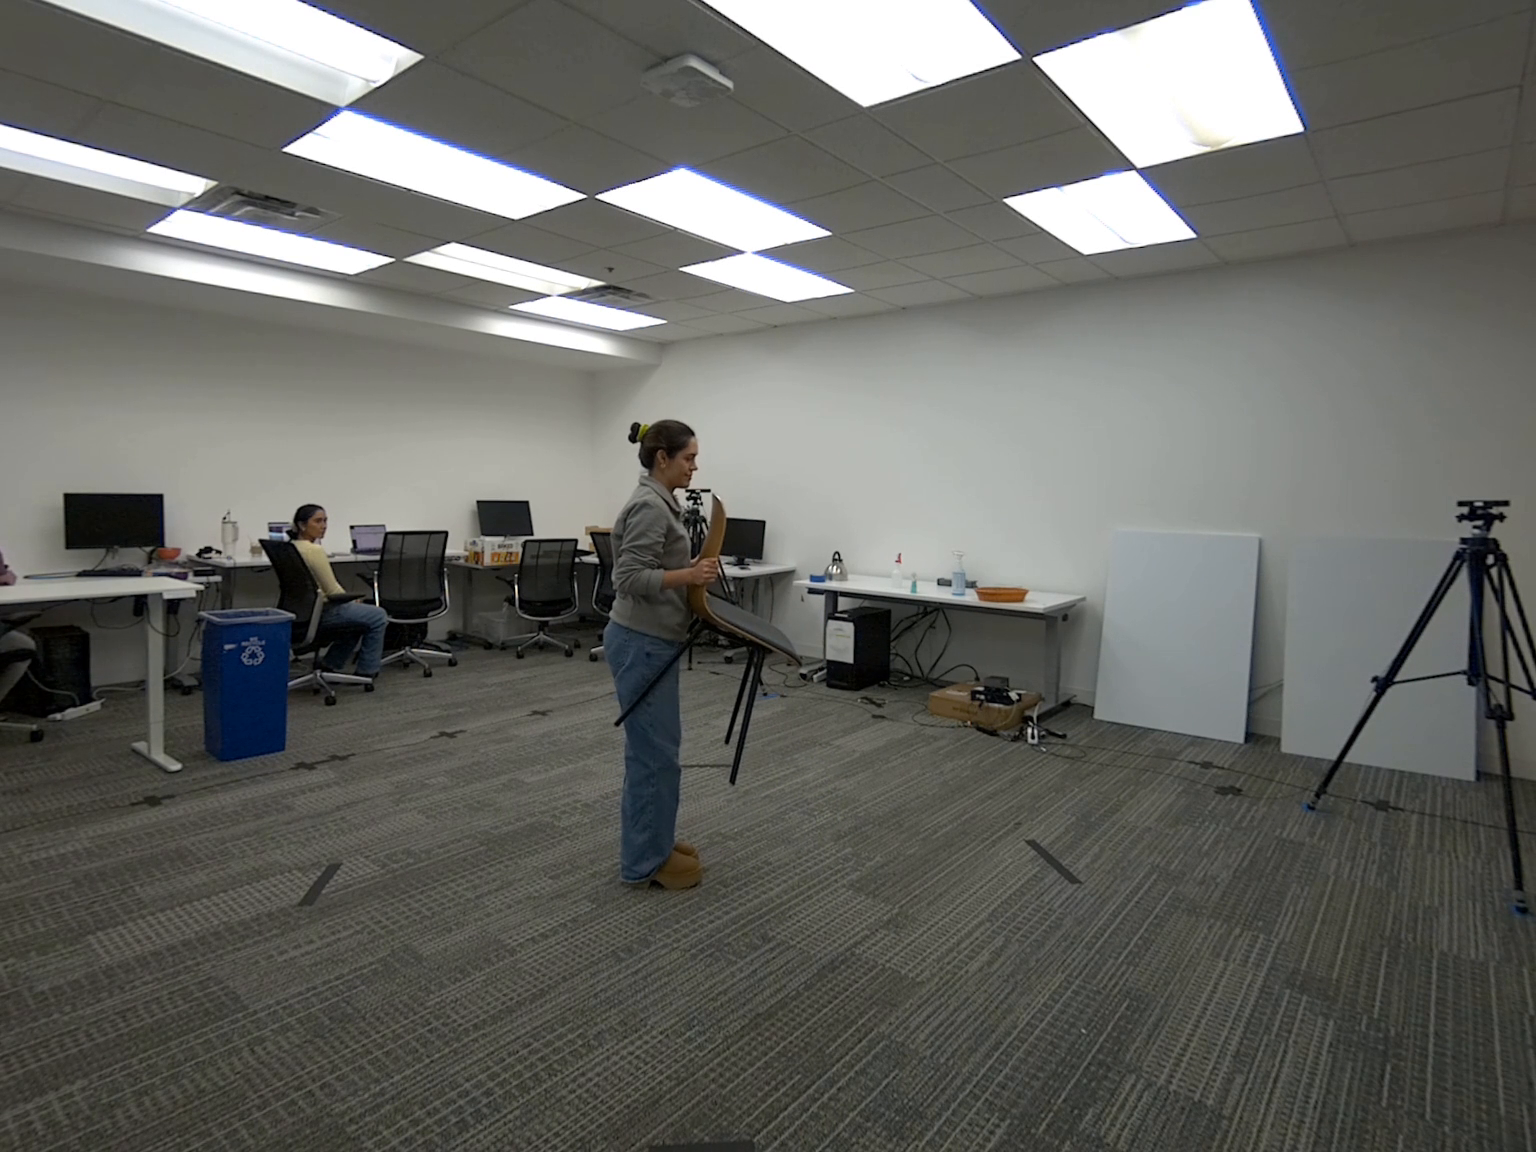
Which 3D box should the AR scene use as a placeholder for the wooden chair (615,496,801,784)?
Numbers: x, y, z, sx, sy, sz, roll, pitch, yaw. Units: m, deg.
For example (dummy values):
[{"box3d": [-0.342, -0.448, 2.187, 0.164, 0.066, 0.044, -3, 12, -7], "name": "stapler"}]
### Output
[{"box3d": [-0.138, 0.206, 3.050, 0.520, 0.876, 0.482, 22, 2, -5], "name": "wooden chair"}]
